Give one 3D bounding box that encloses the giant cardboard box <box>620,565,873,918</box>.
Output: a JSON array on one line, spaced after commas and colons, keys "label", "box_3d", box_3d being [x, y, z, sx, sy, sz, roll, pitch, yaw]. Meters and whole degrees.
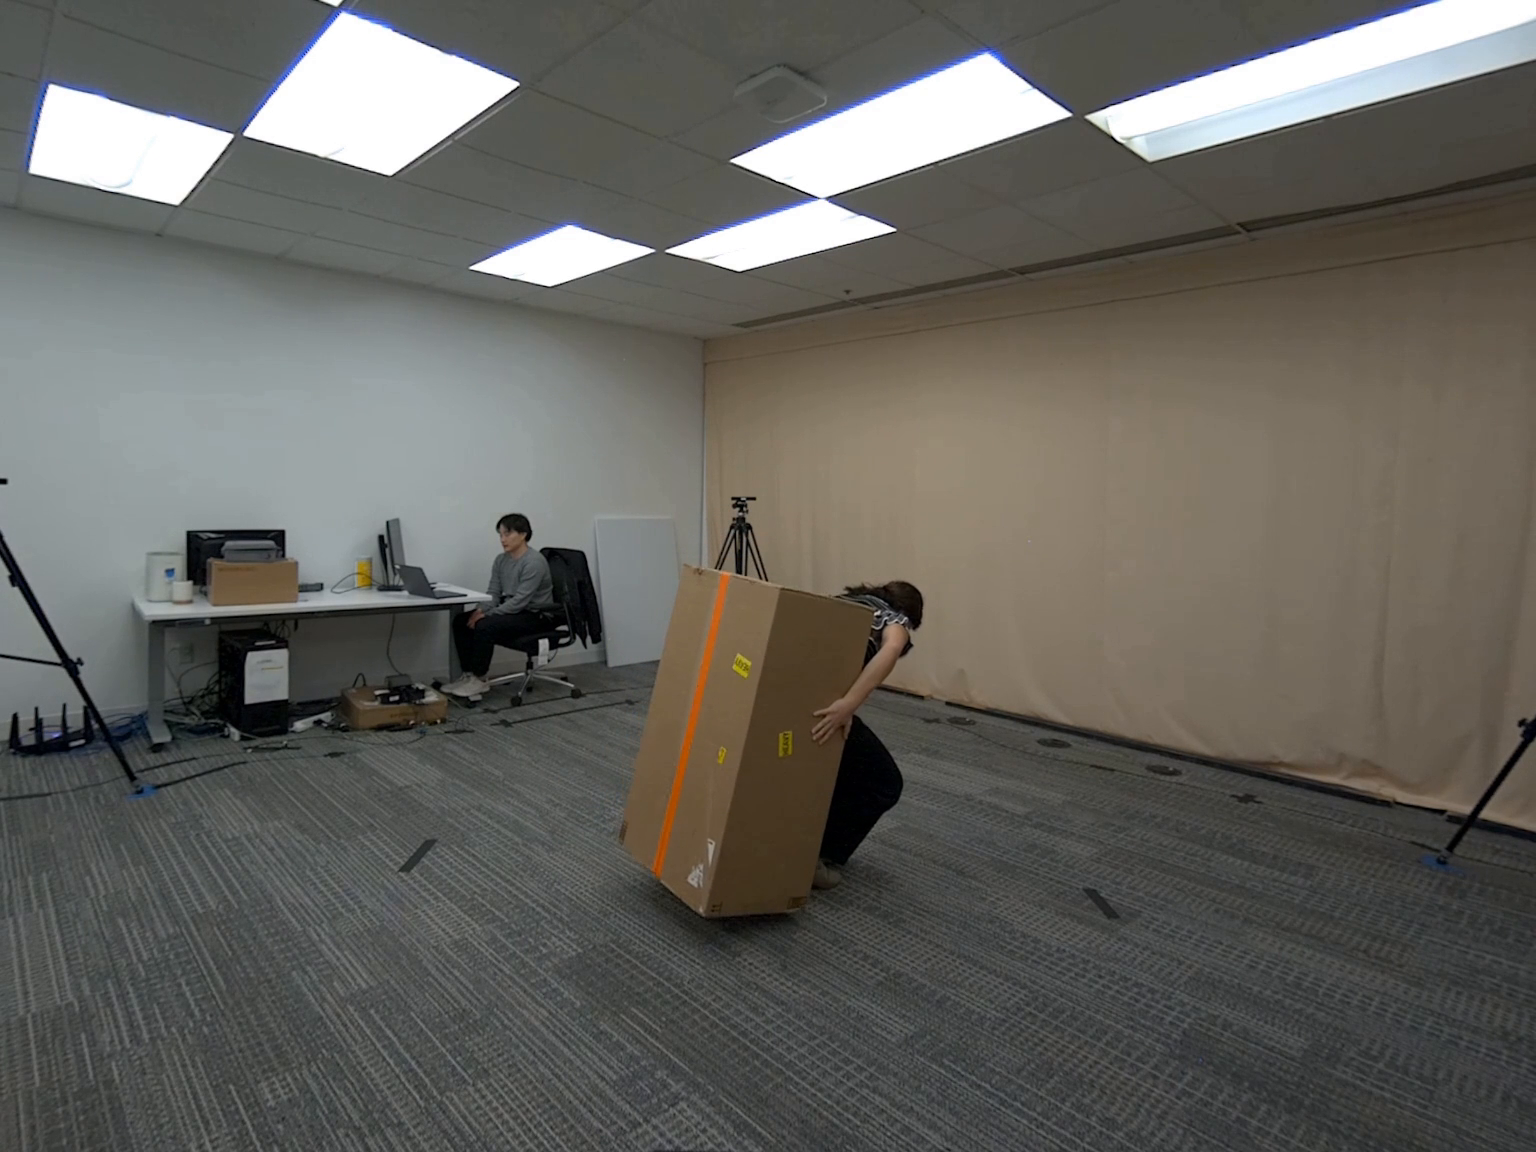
[{"label": "giant cardboard box", "box_3d": [-0.102, 0.530, 2.883, 0.415, 1.027, 0.593, 14, -2, -37]}]
